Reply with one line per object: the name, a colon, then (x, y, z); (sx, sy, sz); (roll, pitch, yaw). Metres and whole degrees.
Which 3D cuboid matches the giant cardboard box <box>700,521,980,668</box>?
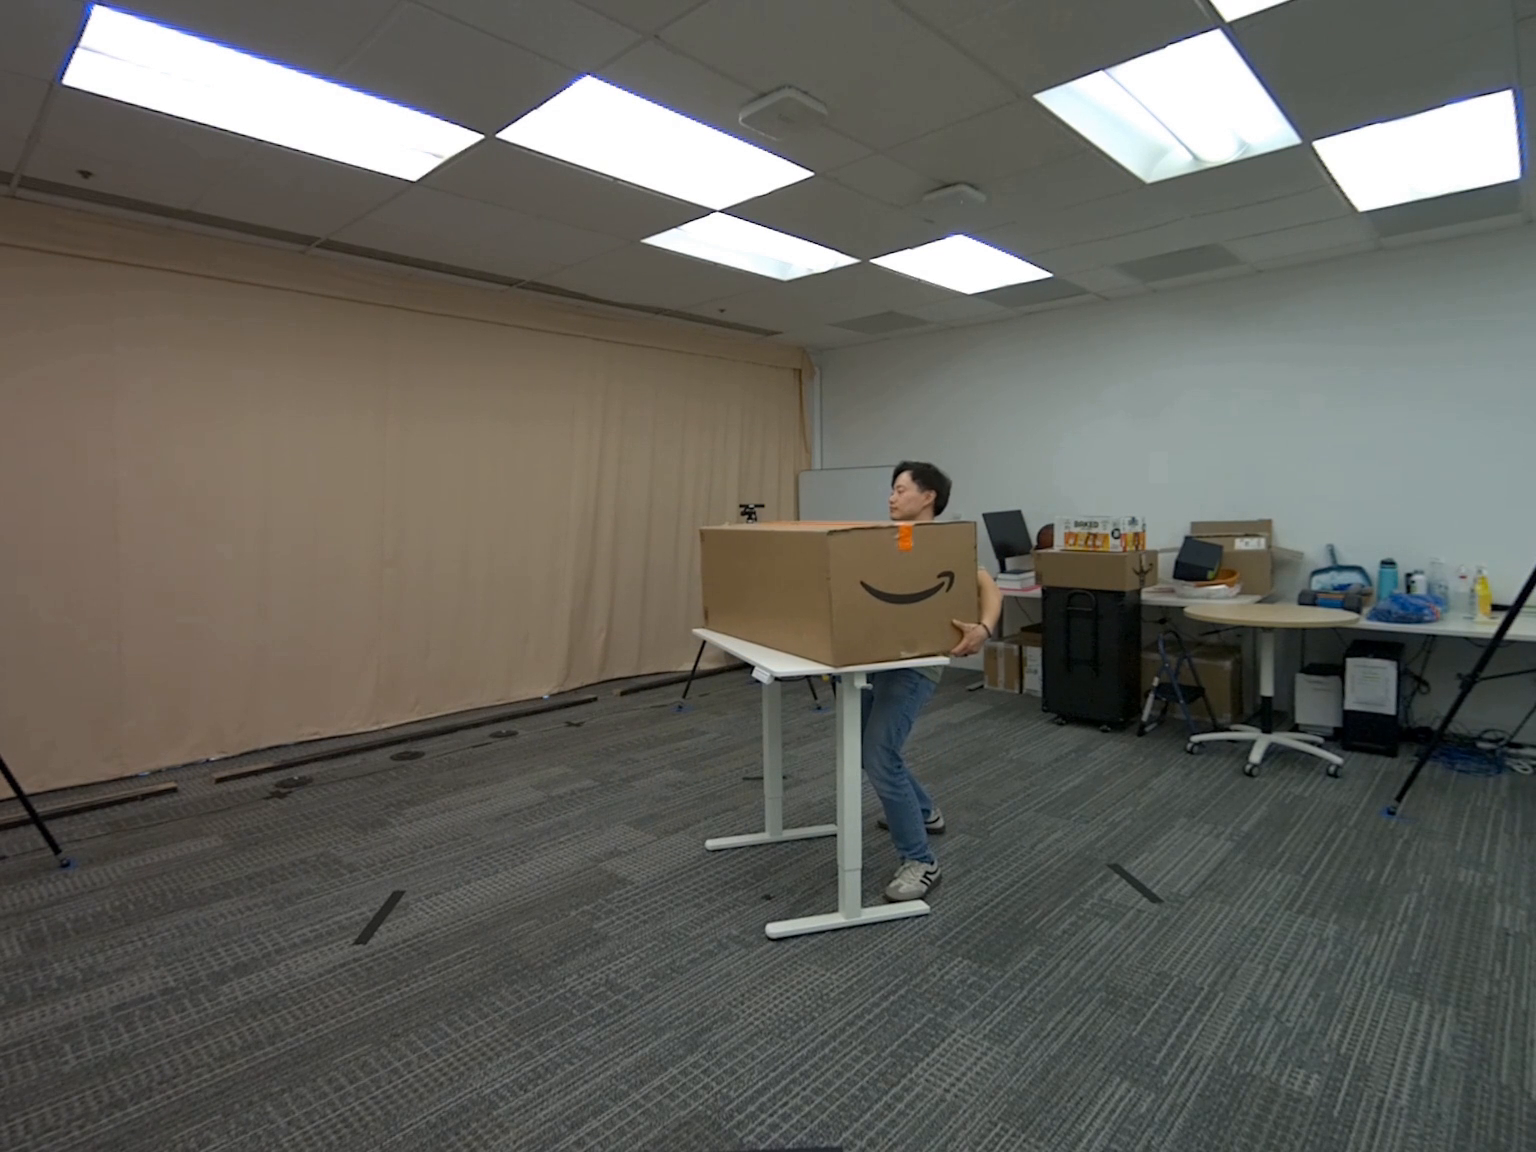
giant cardboard box: (0.208, 0.016, 3.146); (0.564, 0.425, 1.053); (-4, 5, -26)
